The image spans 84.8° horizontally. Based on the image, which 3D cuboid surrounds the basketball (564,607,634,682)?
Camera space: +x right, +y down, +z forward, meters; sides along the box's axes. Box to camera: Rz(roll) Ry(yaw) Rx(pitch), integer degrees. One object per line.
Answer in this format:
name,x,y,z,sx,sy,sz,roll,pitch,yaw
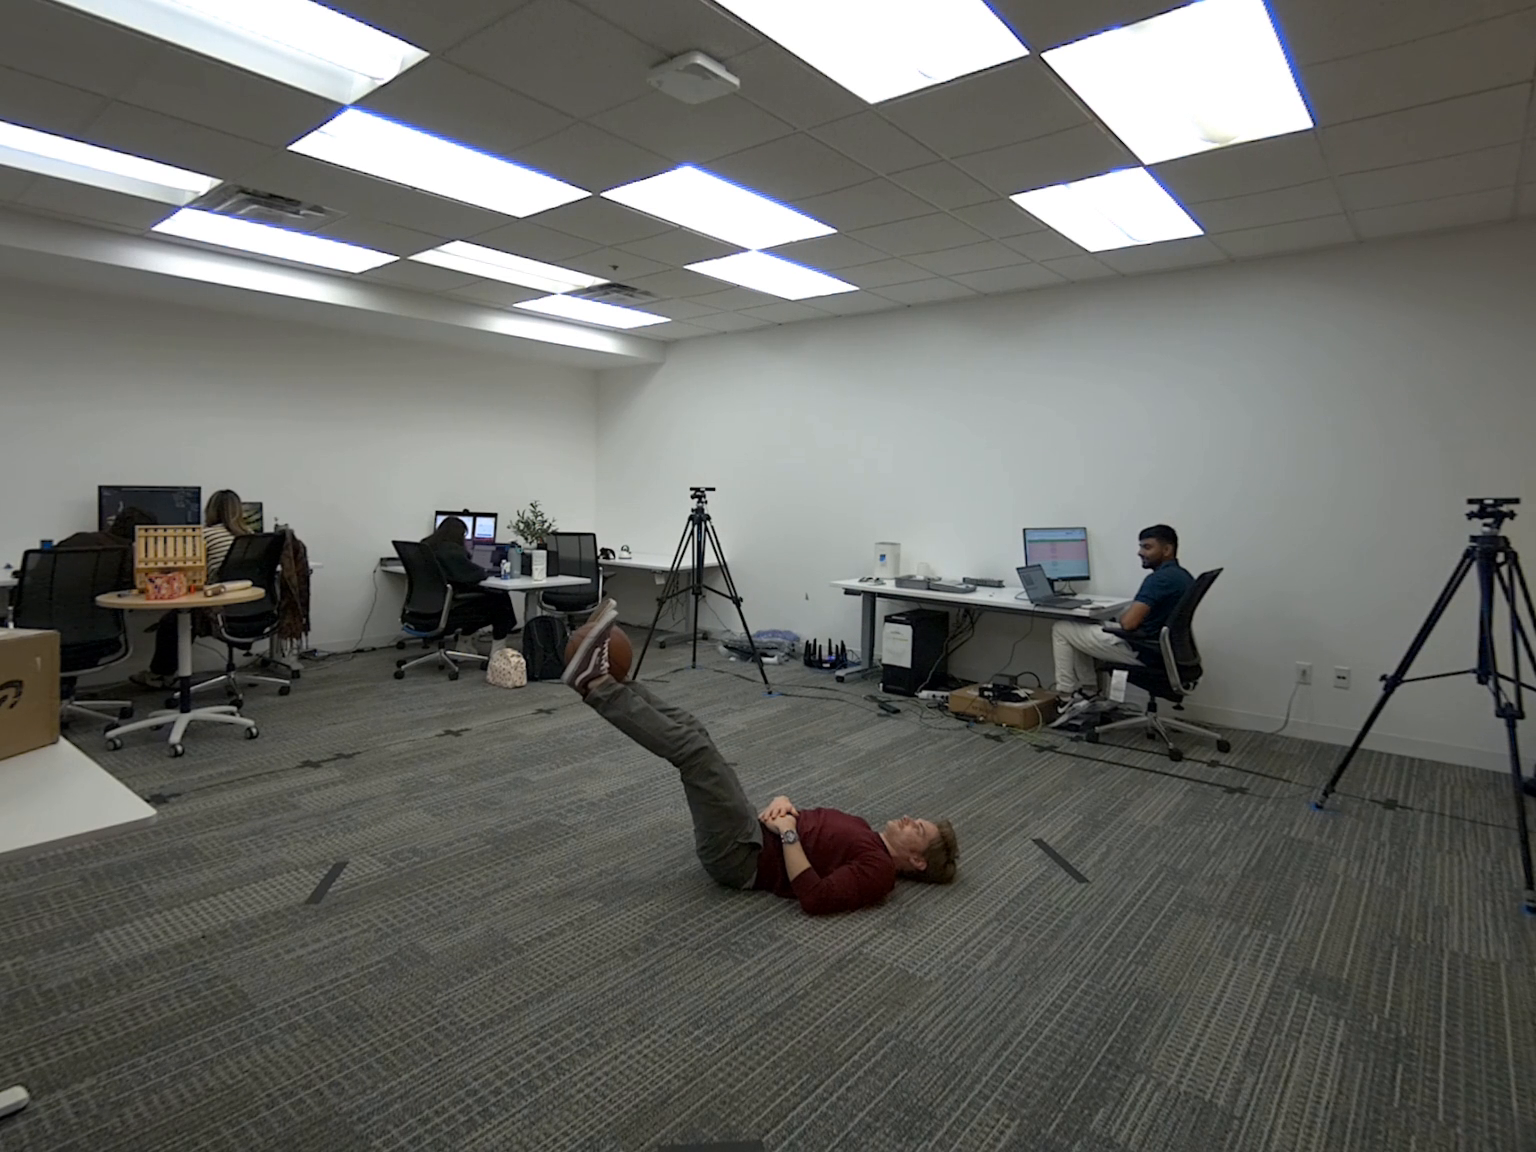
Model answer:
basketball,-0.610,0.281,3.013,0.236,0.235,0.237,-3,3,-2
